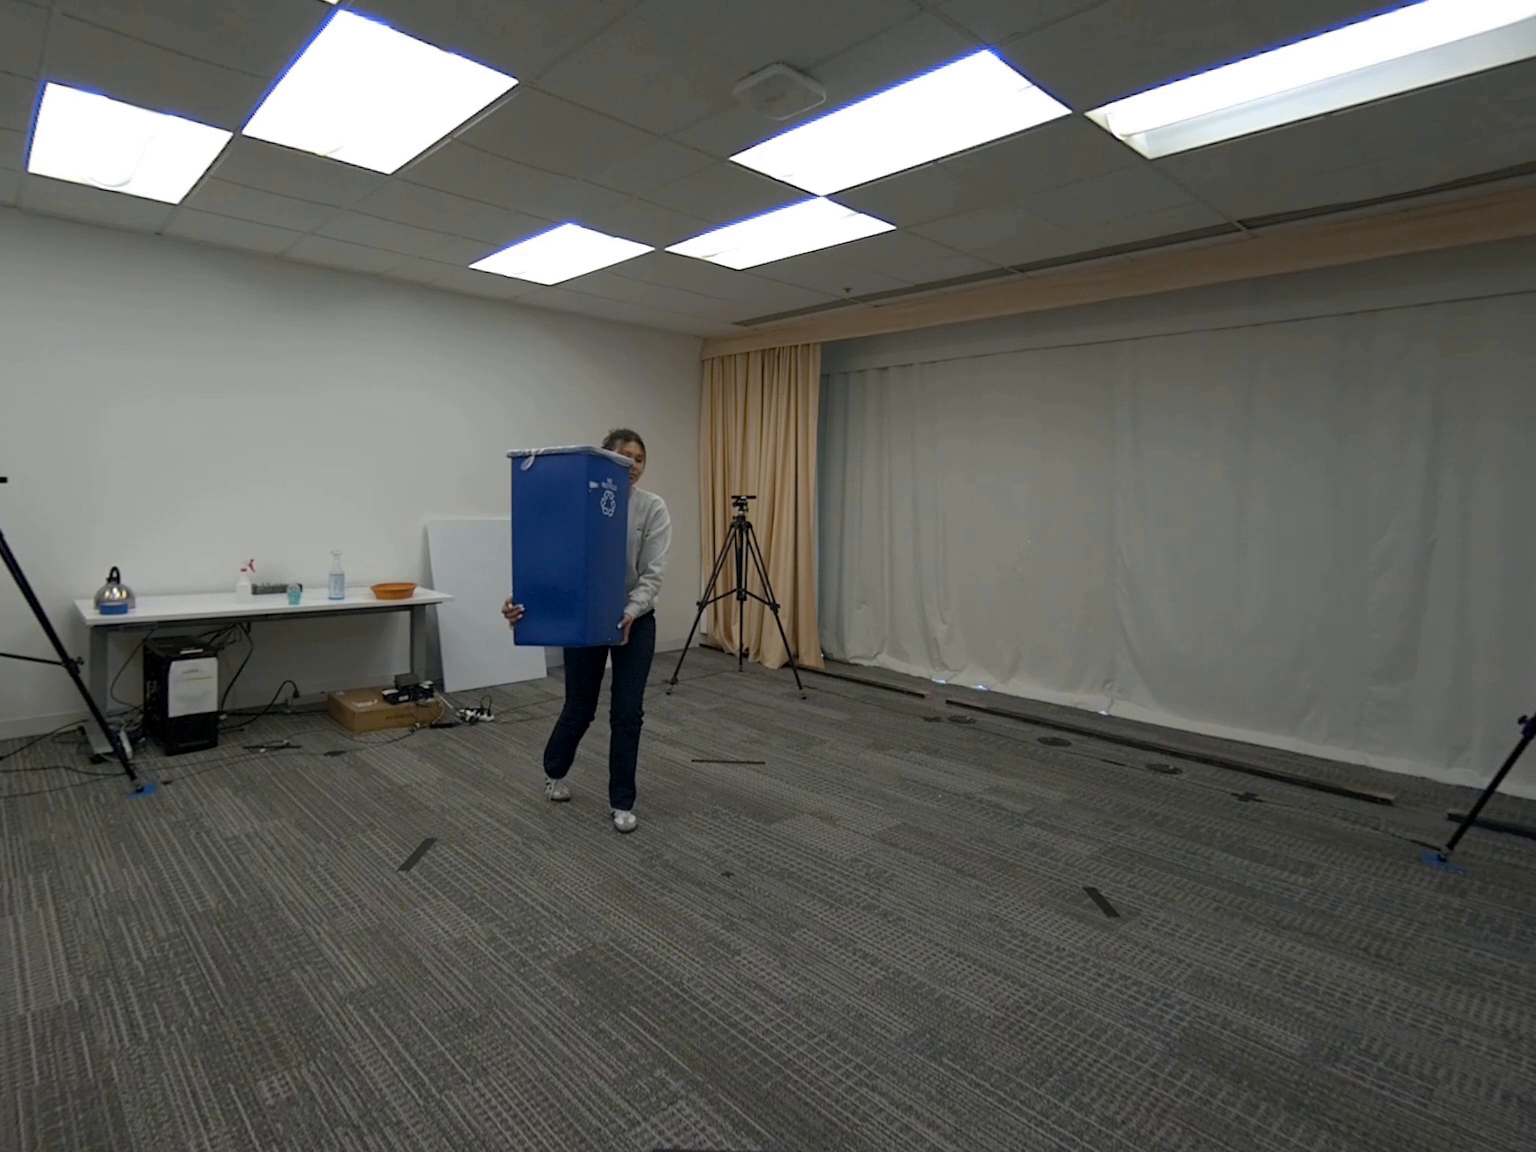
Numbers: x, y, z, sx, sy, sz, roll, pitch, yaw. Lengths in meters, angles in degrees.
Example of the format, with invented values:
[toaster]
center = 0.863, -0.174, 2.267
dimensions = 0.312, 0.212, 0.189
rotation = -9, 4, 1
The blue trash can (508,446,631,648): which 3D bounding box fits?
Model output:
[blue trash can]
center = -0.758, -0.100, 3.180
dimensions = 0.384, 0.715, 0.367
rotation = 0, -3, 19
